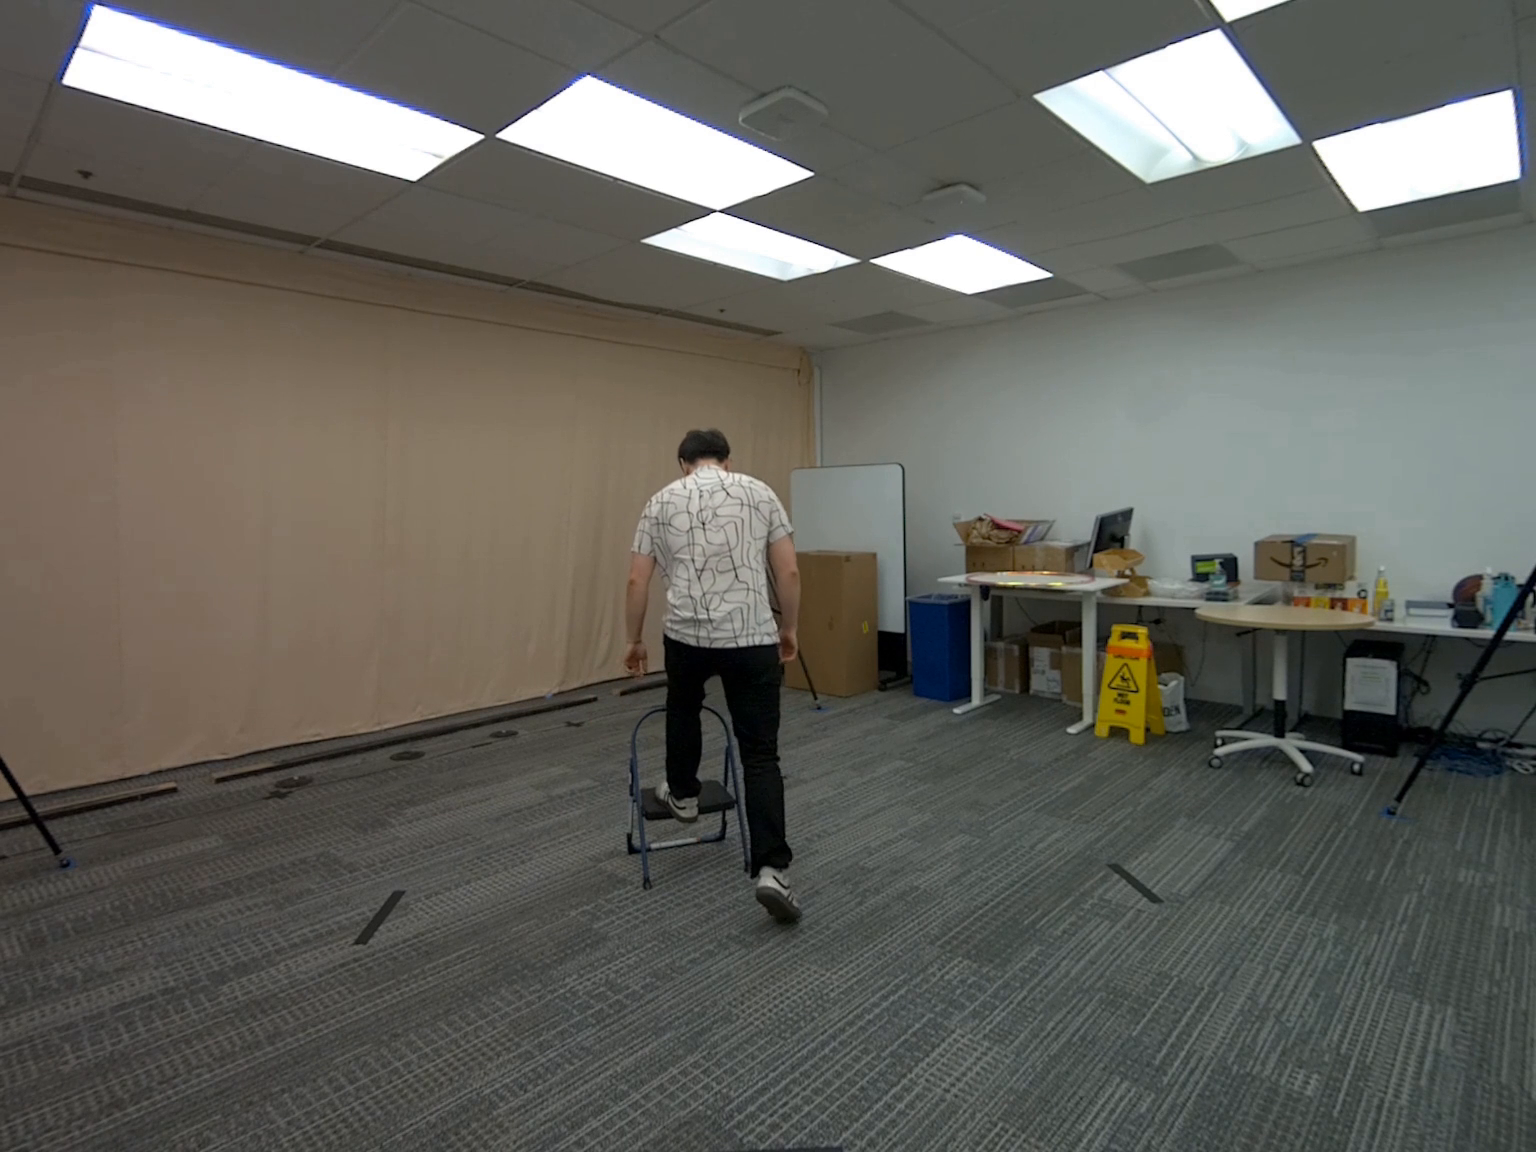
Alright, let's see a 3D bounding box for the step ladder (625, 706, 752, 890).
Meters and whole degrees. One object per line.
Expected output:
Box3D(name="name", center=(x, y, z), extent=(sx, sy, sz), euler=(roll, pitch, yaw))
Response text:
Box3D(name="step ladder", center=(-0.321, 0.817, 3.286), extent=(0.422, 0.605, 0.357), euler=(-2, 3, -20))
